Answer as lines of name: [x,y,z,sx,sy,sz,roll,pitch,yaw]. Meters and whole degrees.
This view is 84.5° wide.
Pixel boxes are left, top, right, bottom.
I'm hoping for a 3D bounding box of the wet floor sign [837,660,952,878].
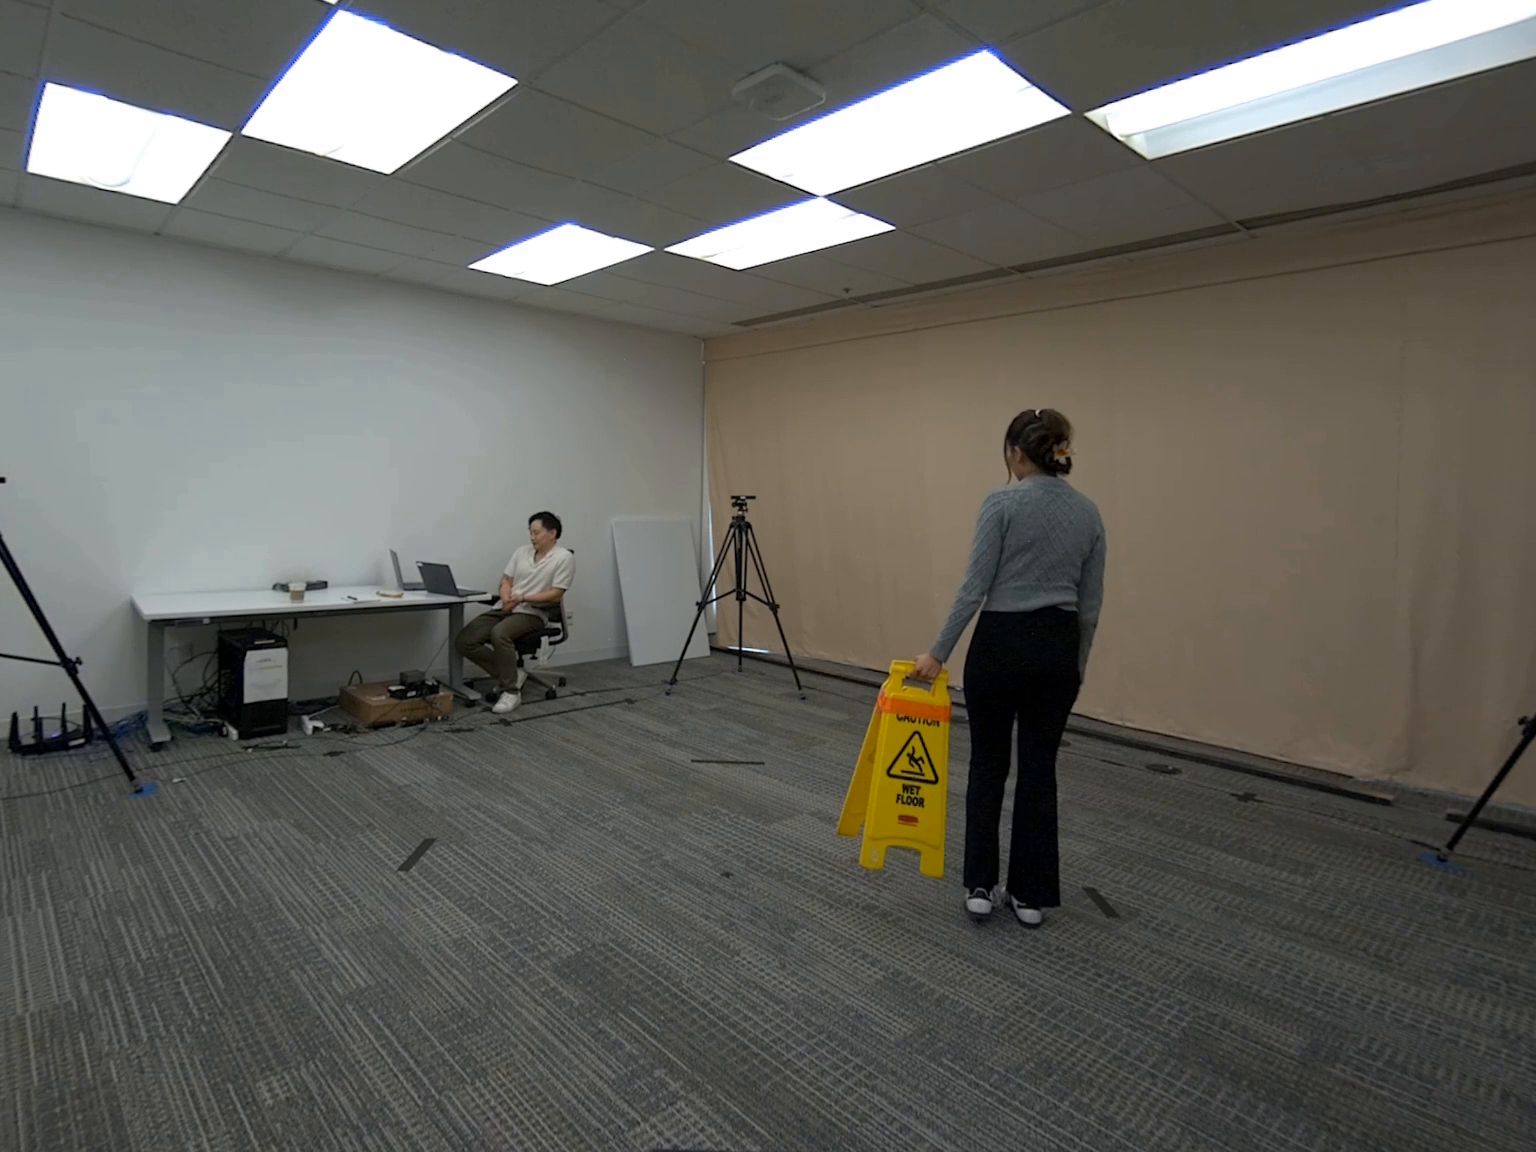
wet floor sign: [0.449,0.615,2.811,0.280,0.646,0.292,11,-1,-10]
